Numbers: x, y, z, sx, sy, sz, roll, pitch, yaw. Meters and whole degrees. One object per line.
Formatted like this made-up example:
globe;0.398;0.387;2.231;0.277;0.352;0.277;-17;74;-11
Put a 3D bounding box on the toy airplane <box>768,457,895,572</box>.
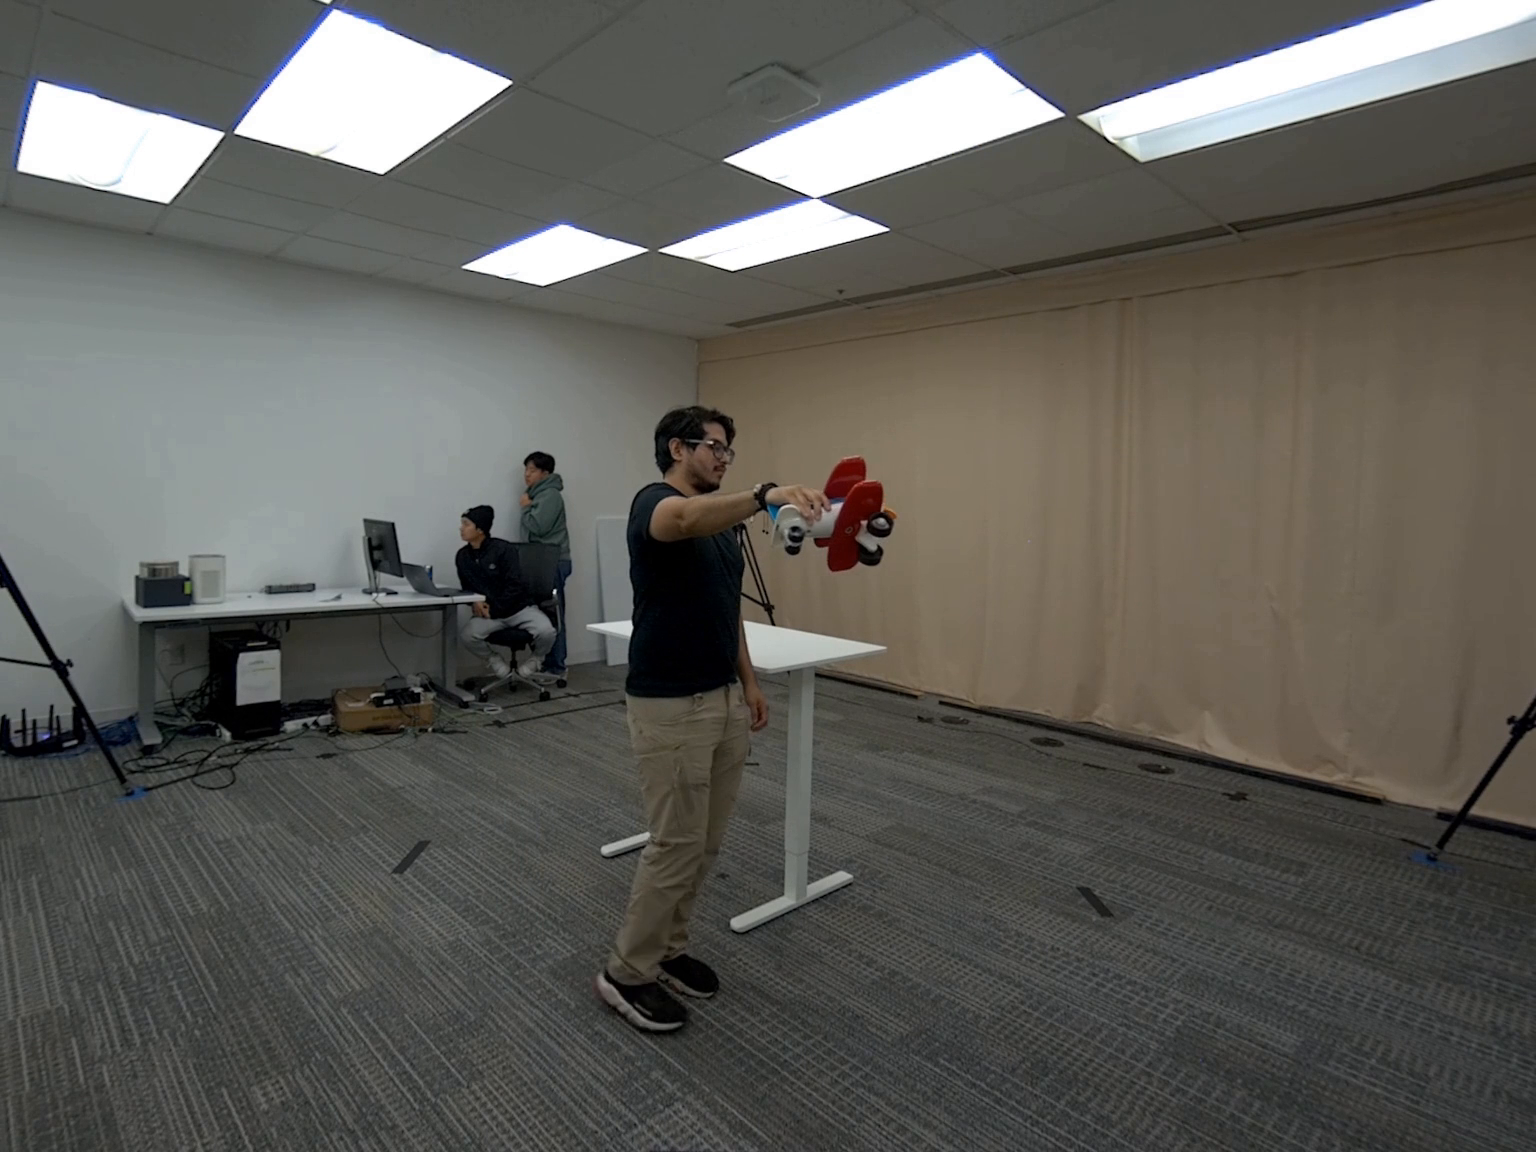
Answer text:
toy airplane;0.132;-0.125;1.765;0.252;0.160;0.251;25;-53;-29
